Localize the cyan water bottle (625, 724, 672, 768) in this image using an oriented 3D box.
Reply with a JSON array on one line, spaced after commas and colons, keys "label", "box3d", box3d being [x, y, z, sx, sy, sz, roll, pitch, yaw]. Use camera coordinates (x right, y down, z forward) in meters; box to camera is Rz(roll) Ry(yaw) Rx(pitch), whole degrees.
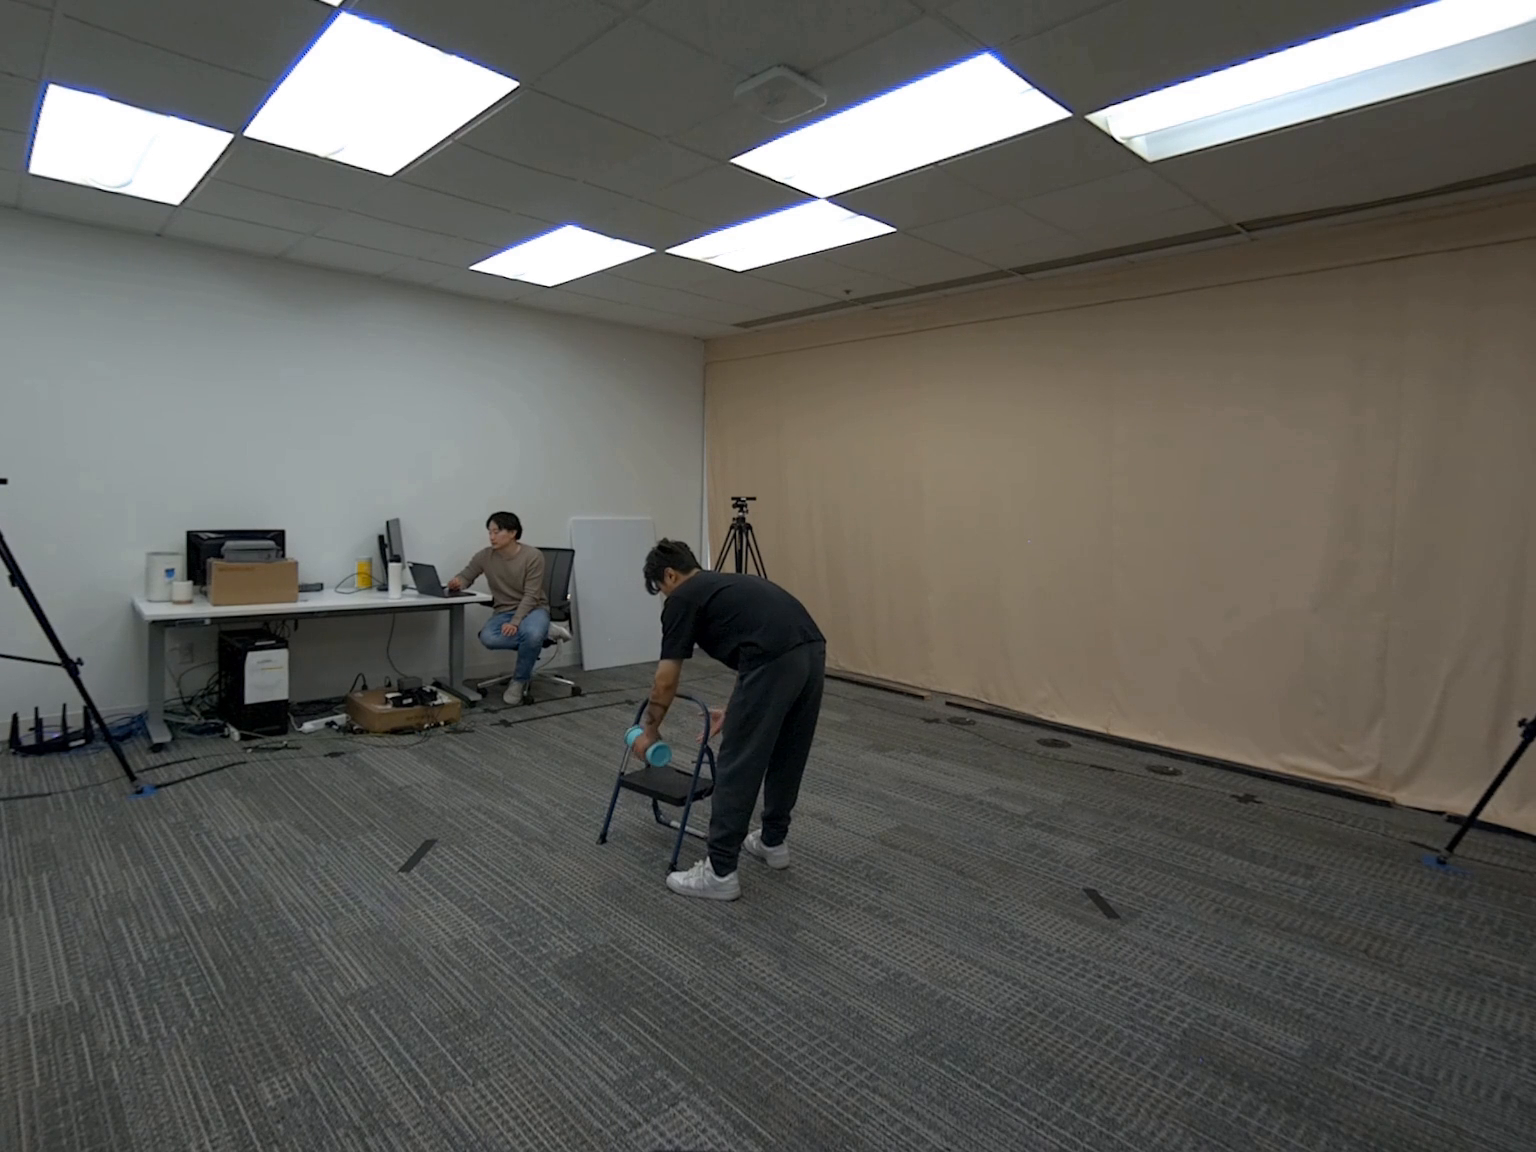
[{"label": "cyan water bottle", "box3d": [-0.470, 0.635, 3.199, 0.090, 0.092, 0.289, -1, 4, -29]}]
